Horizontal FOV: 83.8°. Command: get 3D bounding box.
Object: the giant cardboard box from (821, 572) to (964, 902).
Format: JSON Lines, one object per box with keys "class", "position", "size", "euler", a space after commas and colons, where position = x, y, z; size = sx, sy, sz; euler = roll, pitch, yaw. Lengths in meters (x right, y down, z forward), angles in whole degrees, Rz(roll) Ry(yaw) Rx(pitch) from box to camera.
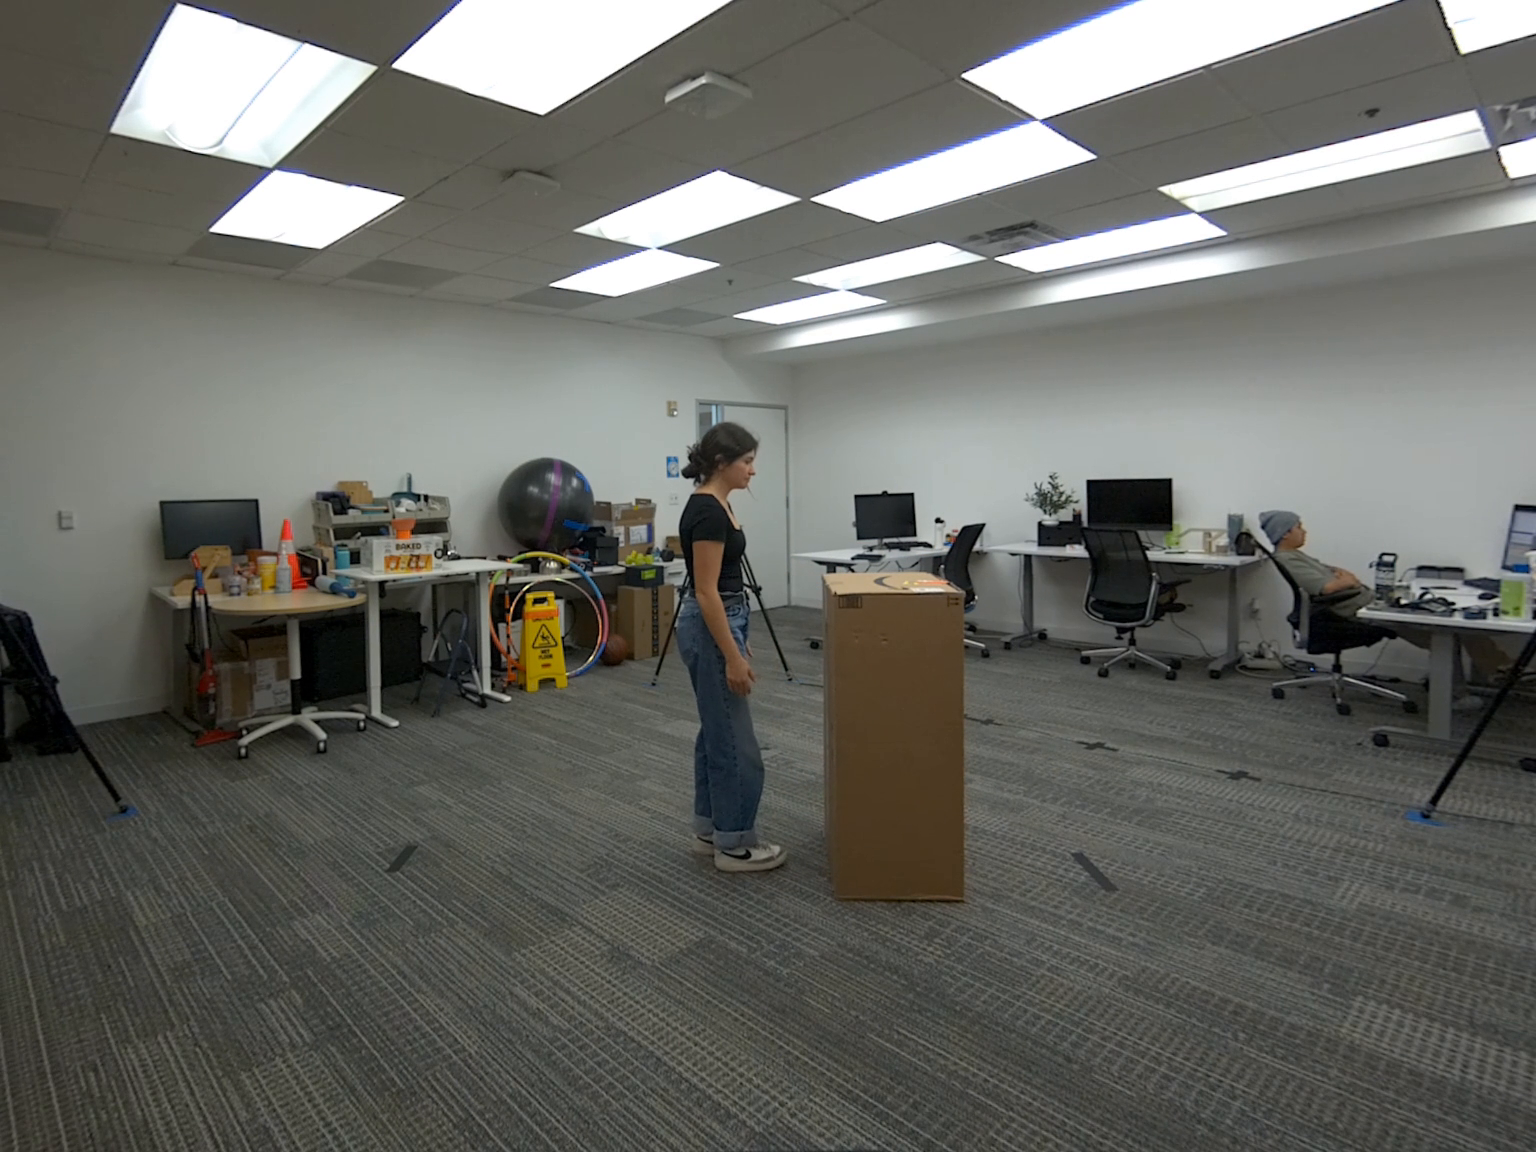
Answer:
{"class": "giant cardboard box", "position": [0.430, 0.534, 3.060], "size": [0.427, 1.022, 0.579], "euler": [0, 4, 0]}
